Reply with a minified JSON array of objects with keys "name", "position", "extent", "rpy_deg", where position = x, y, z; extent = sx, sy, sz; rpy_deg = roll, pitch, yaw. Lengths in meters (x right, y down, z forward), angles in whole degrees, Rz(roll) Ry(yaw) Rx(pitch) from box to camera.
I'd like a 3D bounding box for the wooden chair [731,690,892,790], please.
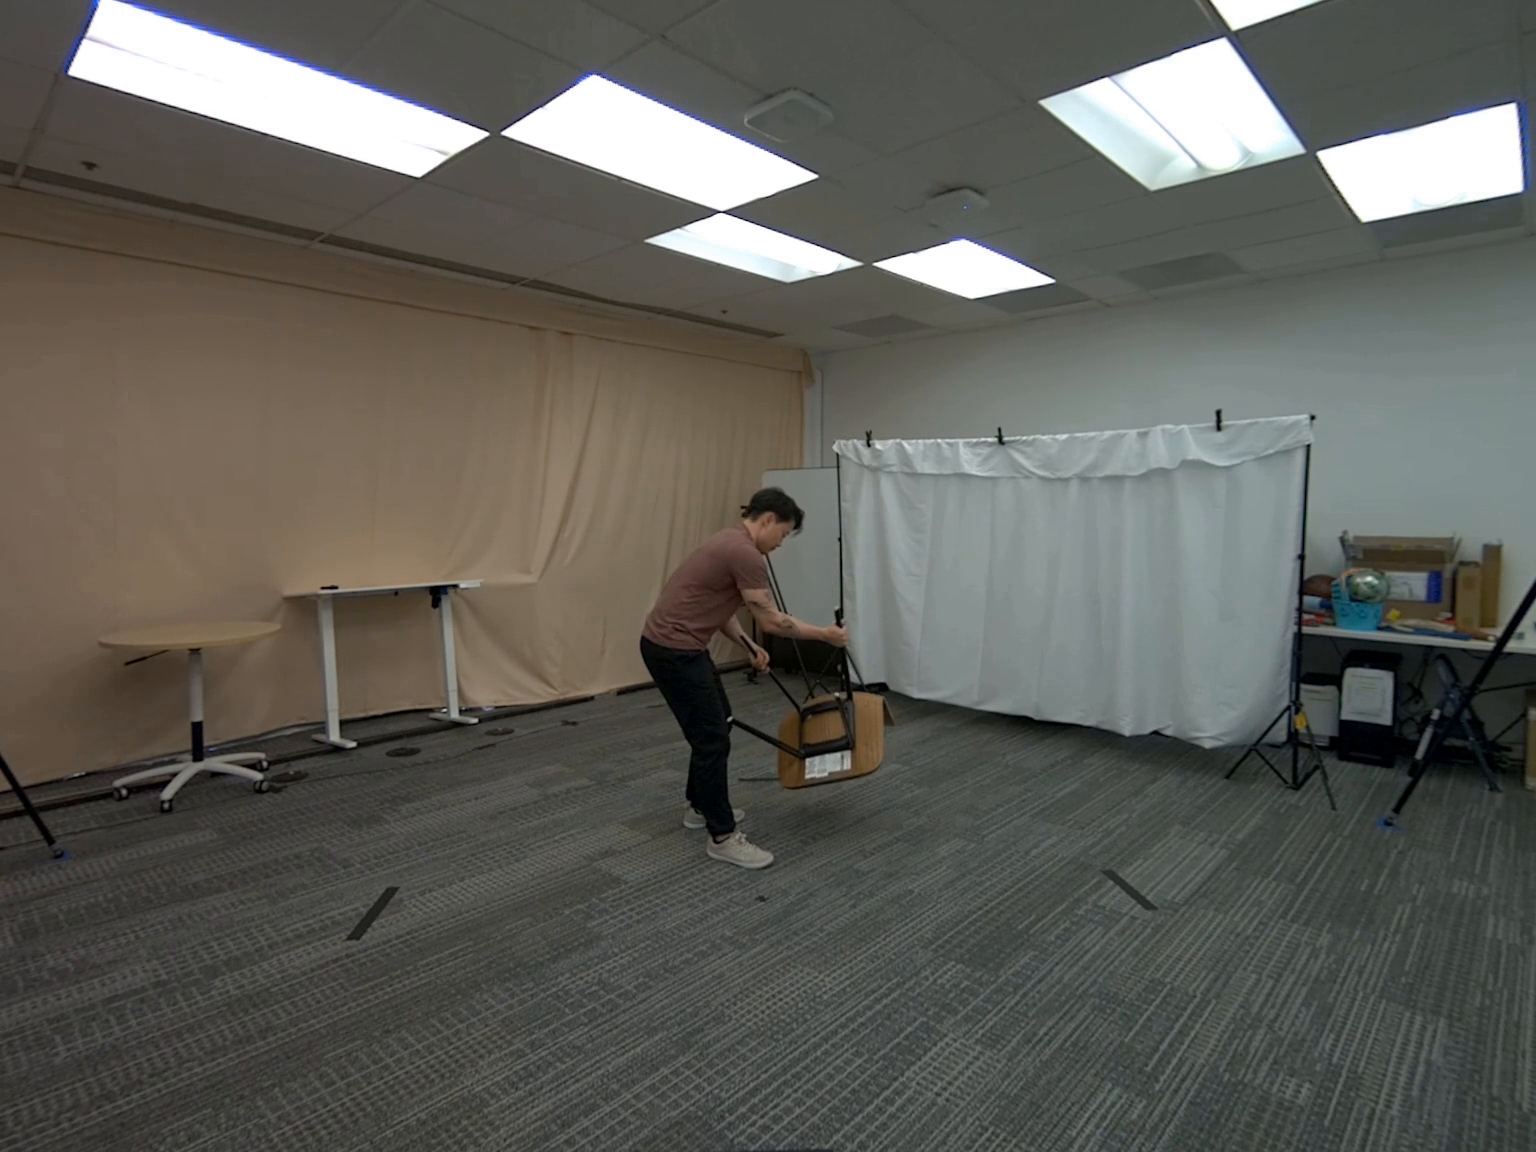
[{"name":"wooden chair","position":[0.247,0.636,3.525],"extent":[0.486,0.849,0.532],"rpy_deg":[-17,42,19]}]
